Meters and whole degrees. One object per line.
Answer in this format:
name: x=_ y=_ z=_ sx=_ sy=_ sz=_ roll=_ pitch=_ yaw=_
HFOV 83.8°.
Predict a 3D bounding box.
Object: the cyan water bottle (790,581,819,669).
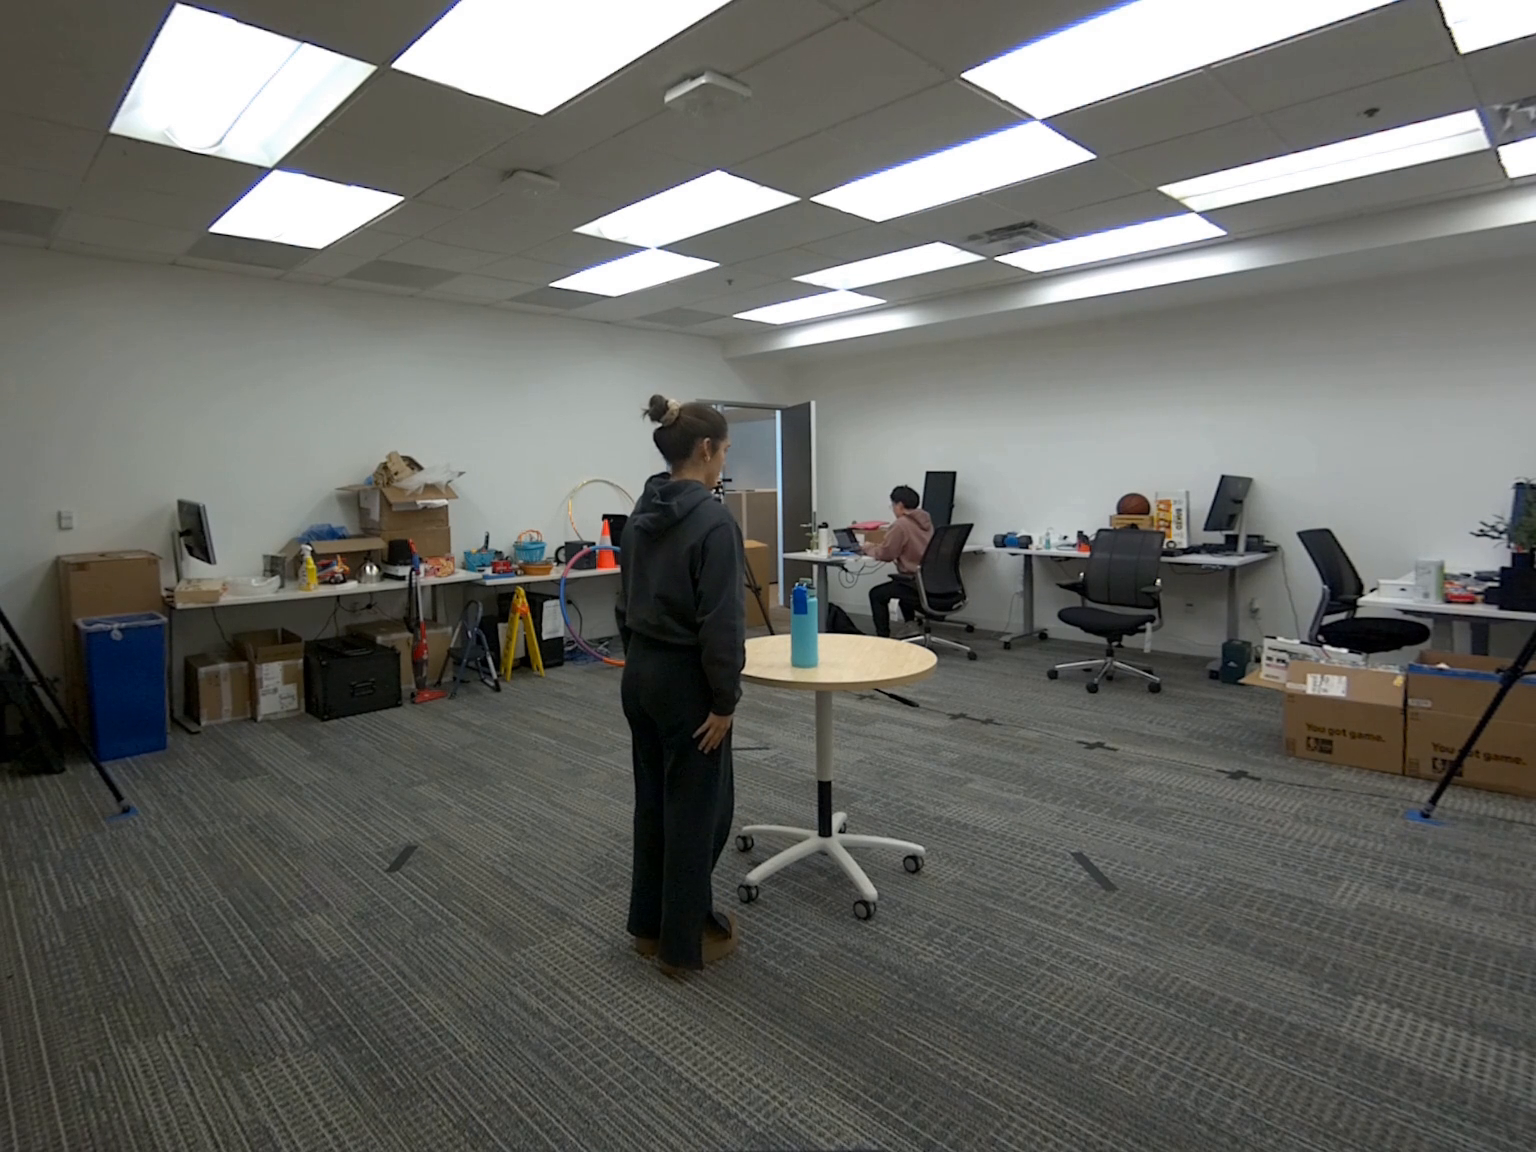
cyan water bottle: x=0.124 y=0.156 z=2.792 sx=0.092 sy=0.281 sz=0.093 roll=-1 pitch=7 yaw=-2
